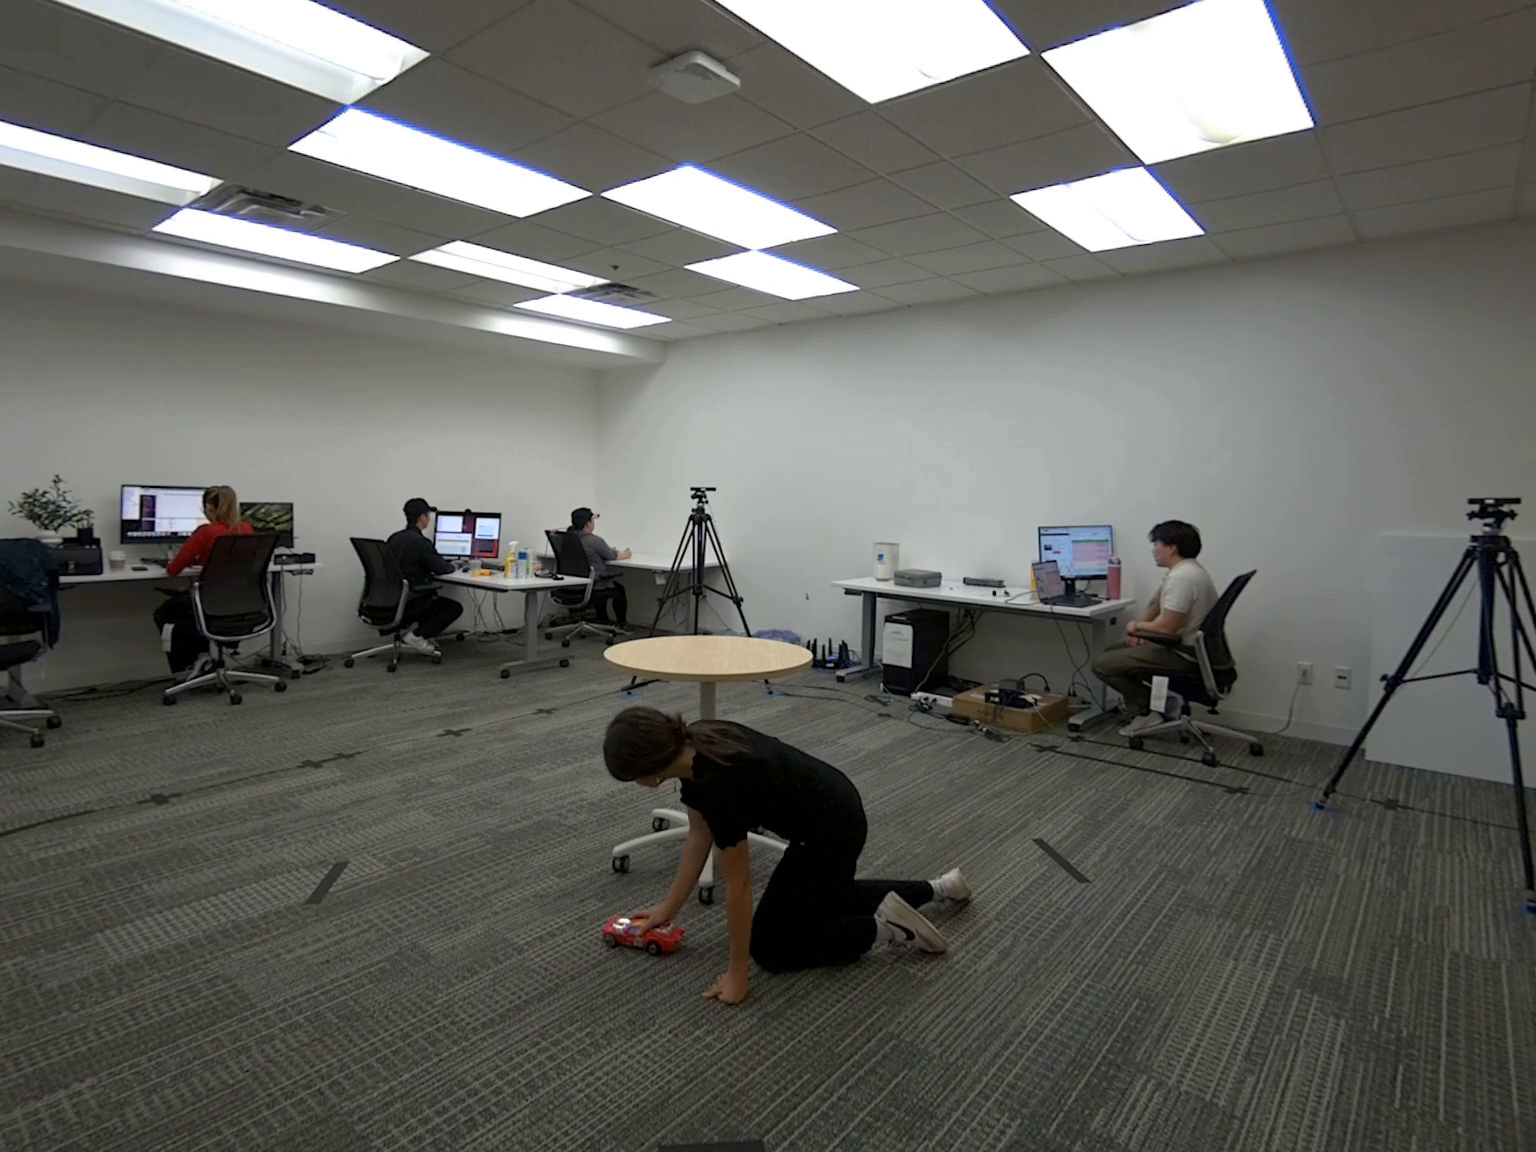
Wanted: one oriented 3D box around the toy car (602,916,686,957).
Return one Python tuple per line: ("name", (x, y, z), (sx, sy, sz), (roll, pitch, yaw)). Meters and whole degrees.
("toy car", (-0.381, 1.092, 2.580), (0.259, 0.083, 0.128), (-8, 1, 18))
